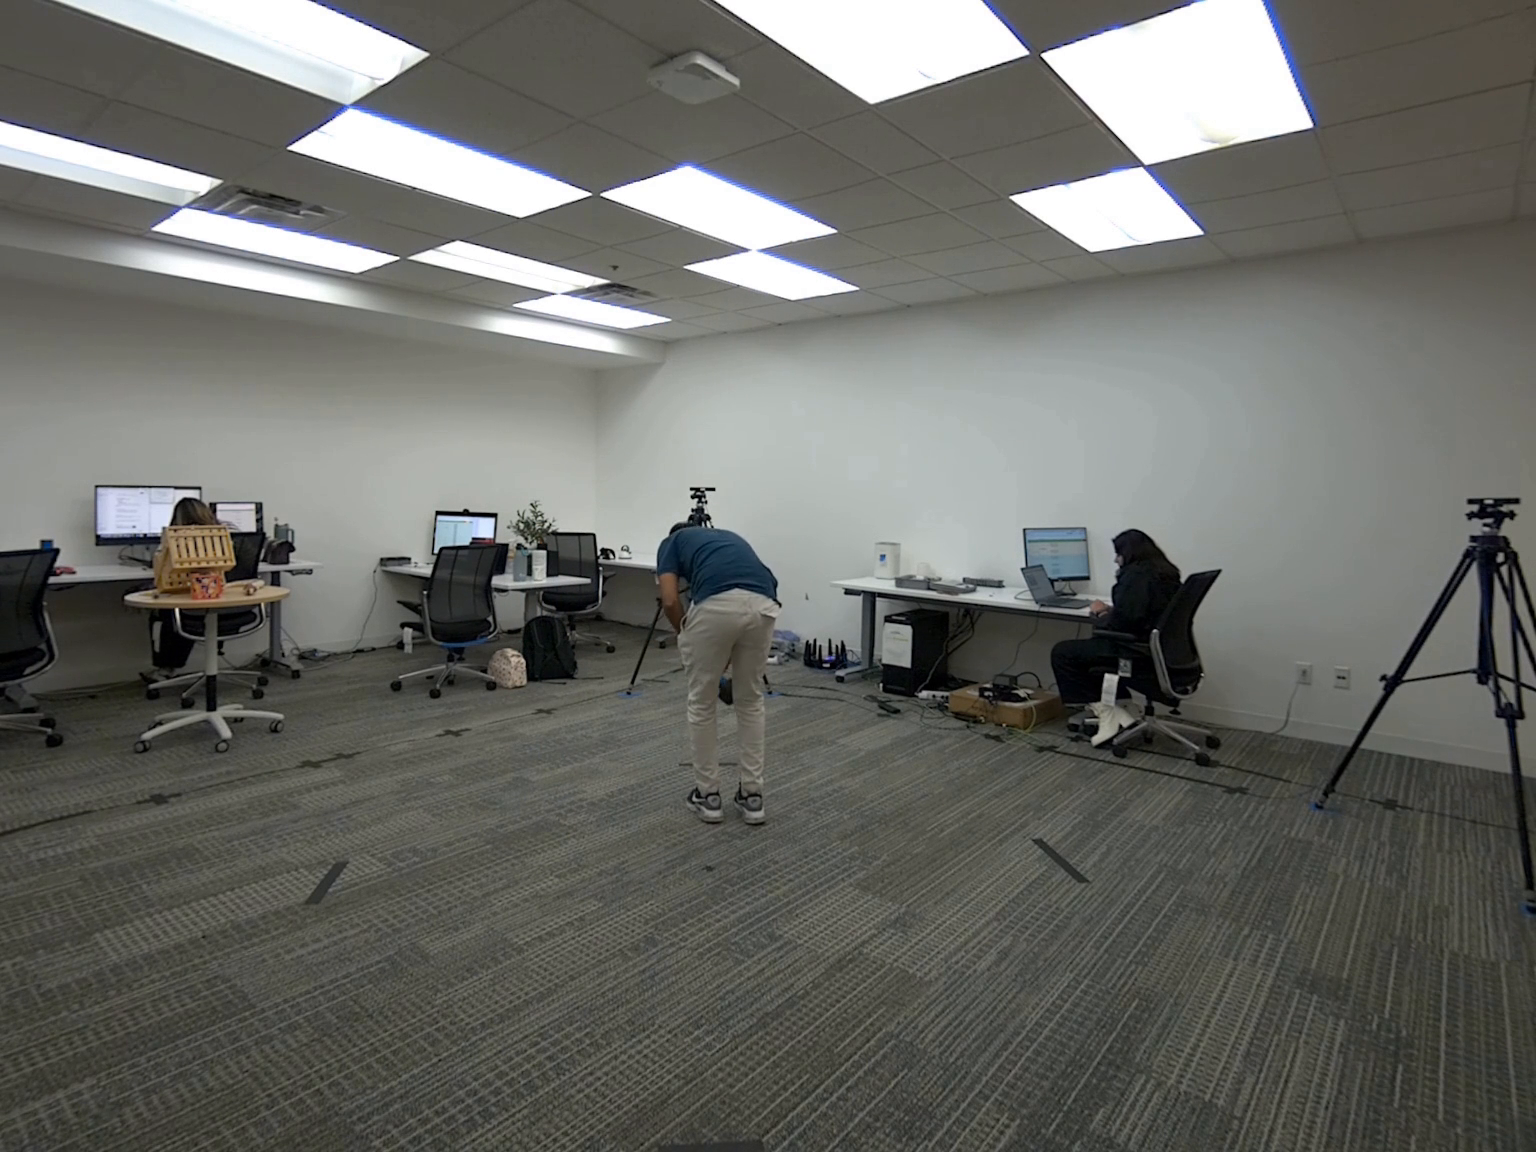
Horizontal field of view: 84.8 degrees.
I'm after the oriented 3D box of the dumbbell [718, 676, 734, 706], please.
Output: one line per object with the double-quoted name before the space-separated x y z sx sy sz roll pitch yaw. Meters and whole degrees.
"dumbbell" -0.254 0.448 3.826 0.300 0.122 0.107 38 34 15
